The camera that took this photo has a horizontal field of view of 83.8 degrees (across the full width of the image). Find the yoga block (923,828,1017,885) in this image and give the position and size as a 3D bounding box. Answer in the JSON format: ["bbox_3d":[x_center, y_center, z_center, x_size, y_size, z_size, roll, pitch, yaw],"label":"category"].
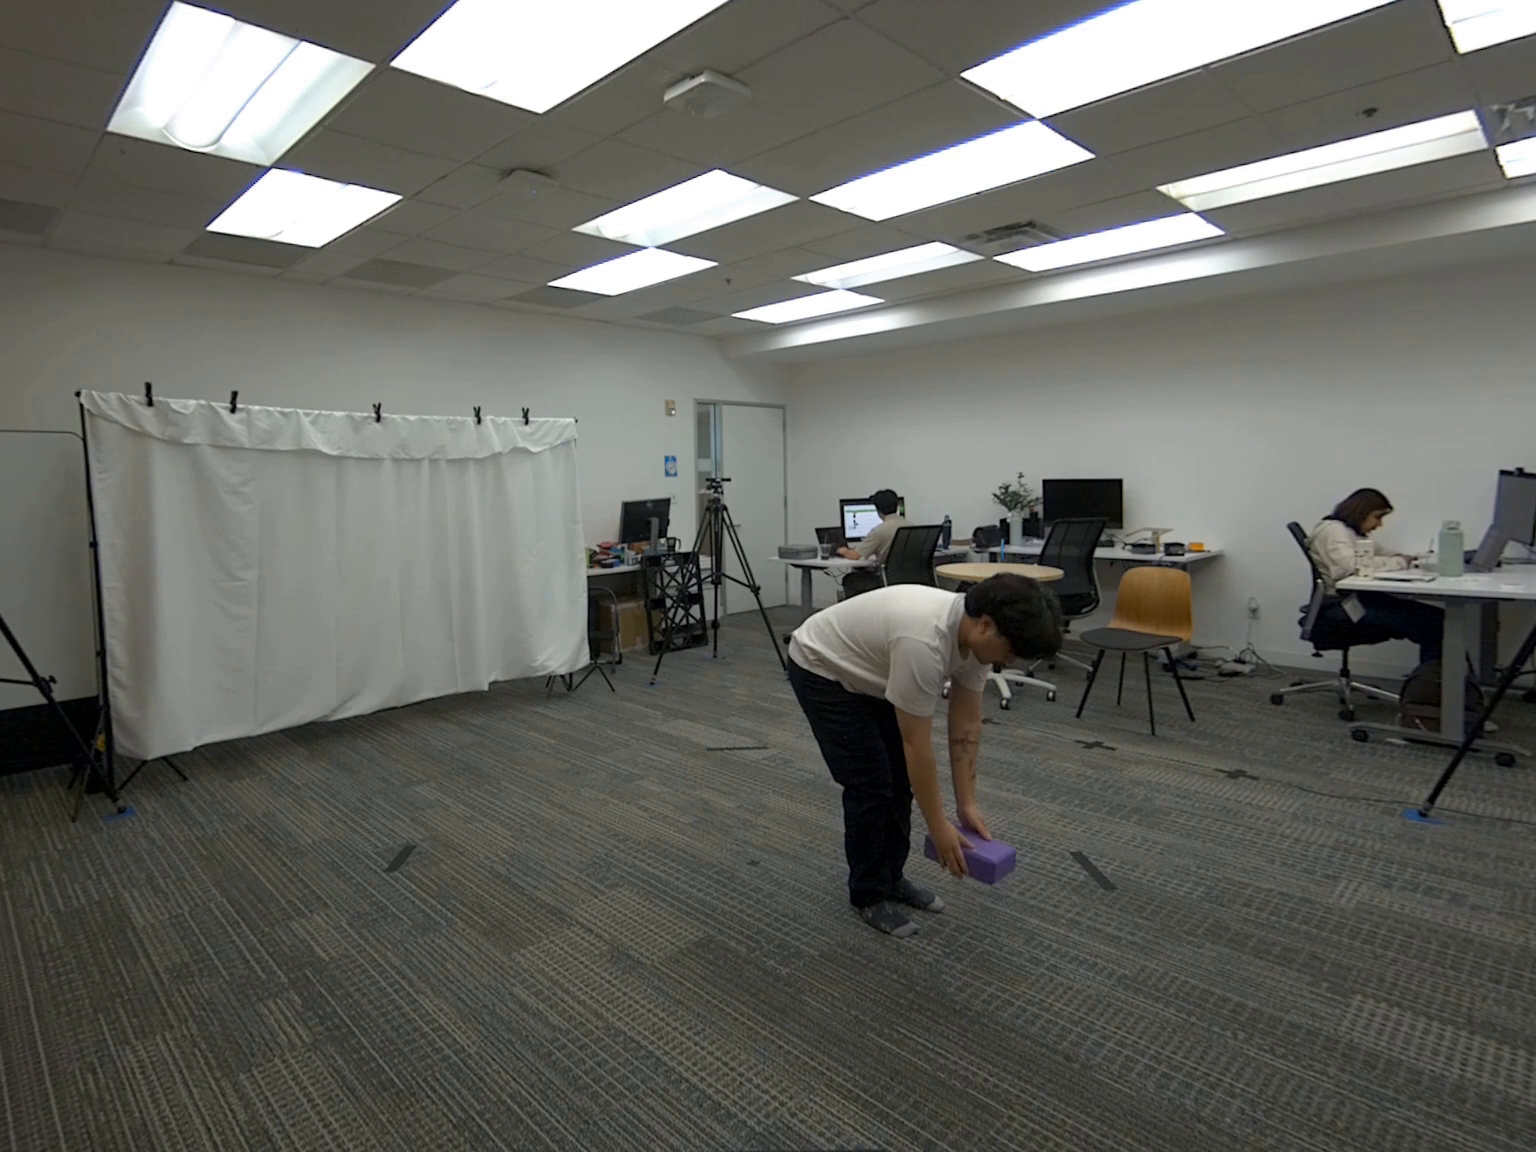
[{"bbox_3d":[0.610,0.822,2.551,0.237,0.076,0.145,9,10,40],"label":"yoga block"}]
